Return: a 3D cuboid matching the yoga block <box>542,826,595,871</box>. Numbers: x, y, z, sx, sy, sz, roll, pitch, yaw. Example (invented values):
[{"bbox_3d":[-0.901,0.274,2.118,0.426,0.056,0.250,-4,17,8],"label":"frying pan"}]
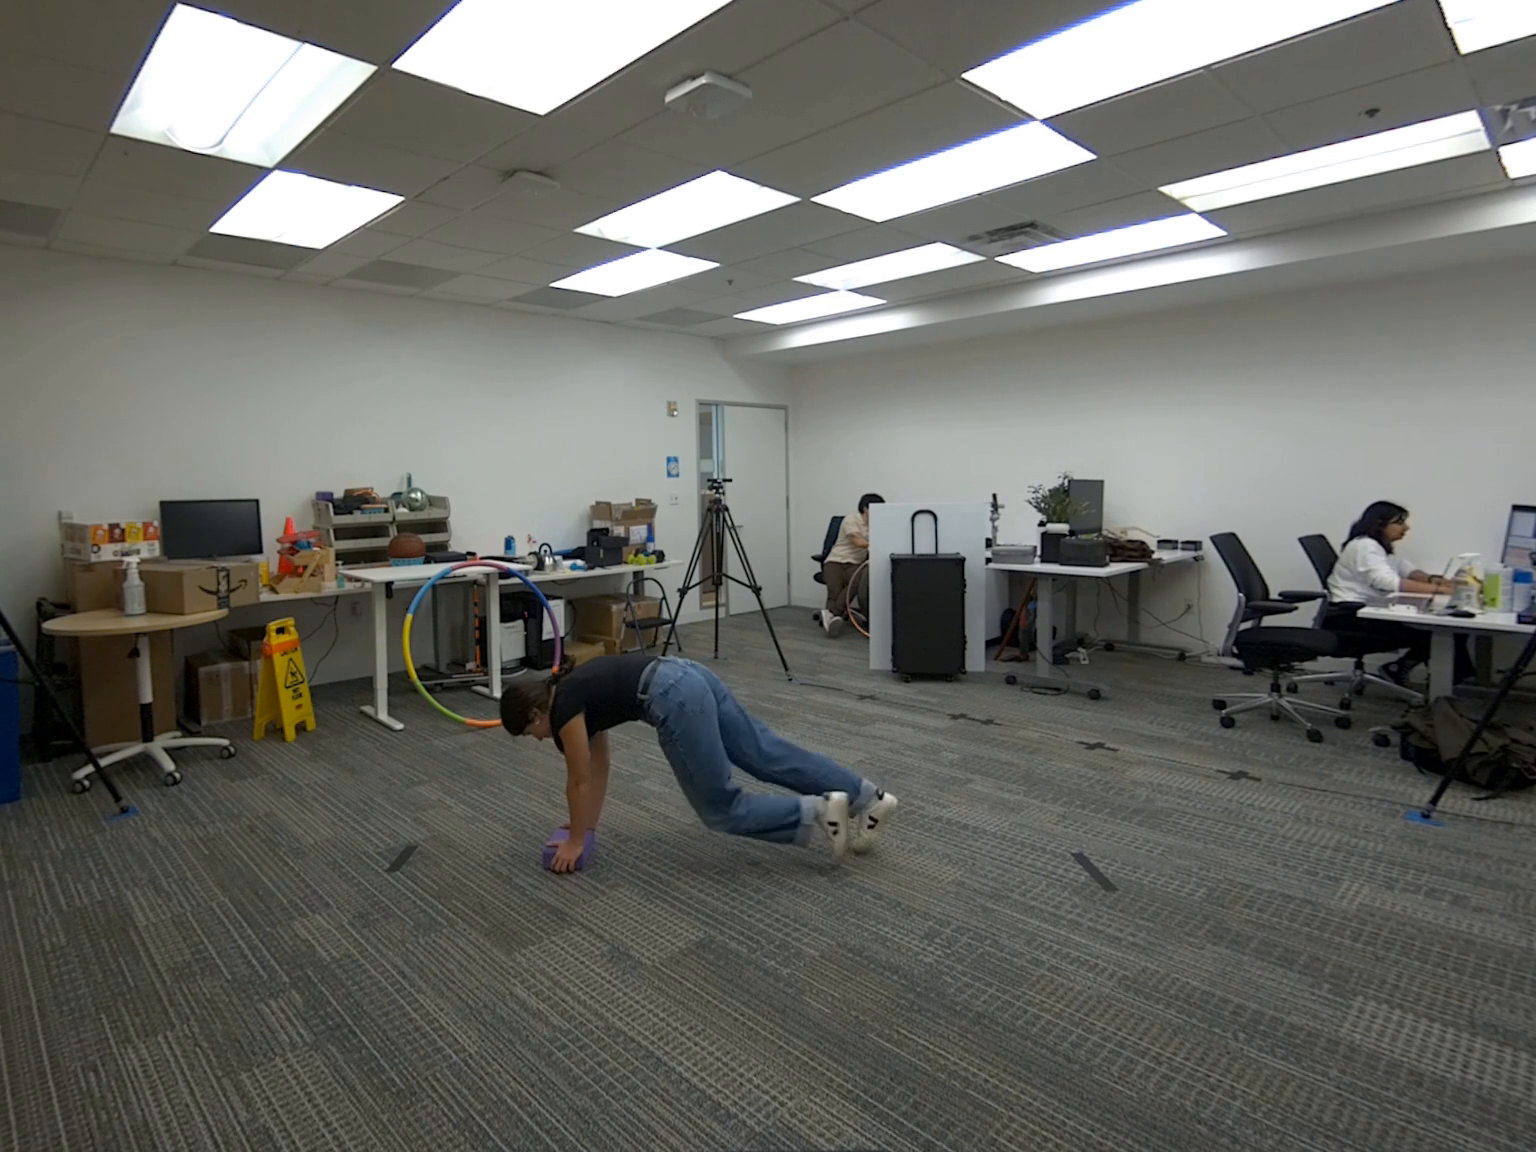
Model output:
[{"bbox_3d":[-0.743,1.011,3.200,0.149,0.076,0.230,0,7,1],"label":"yoga block"}]
